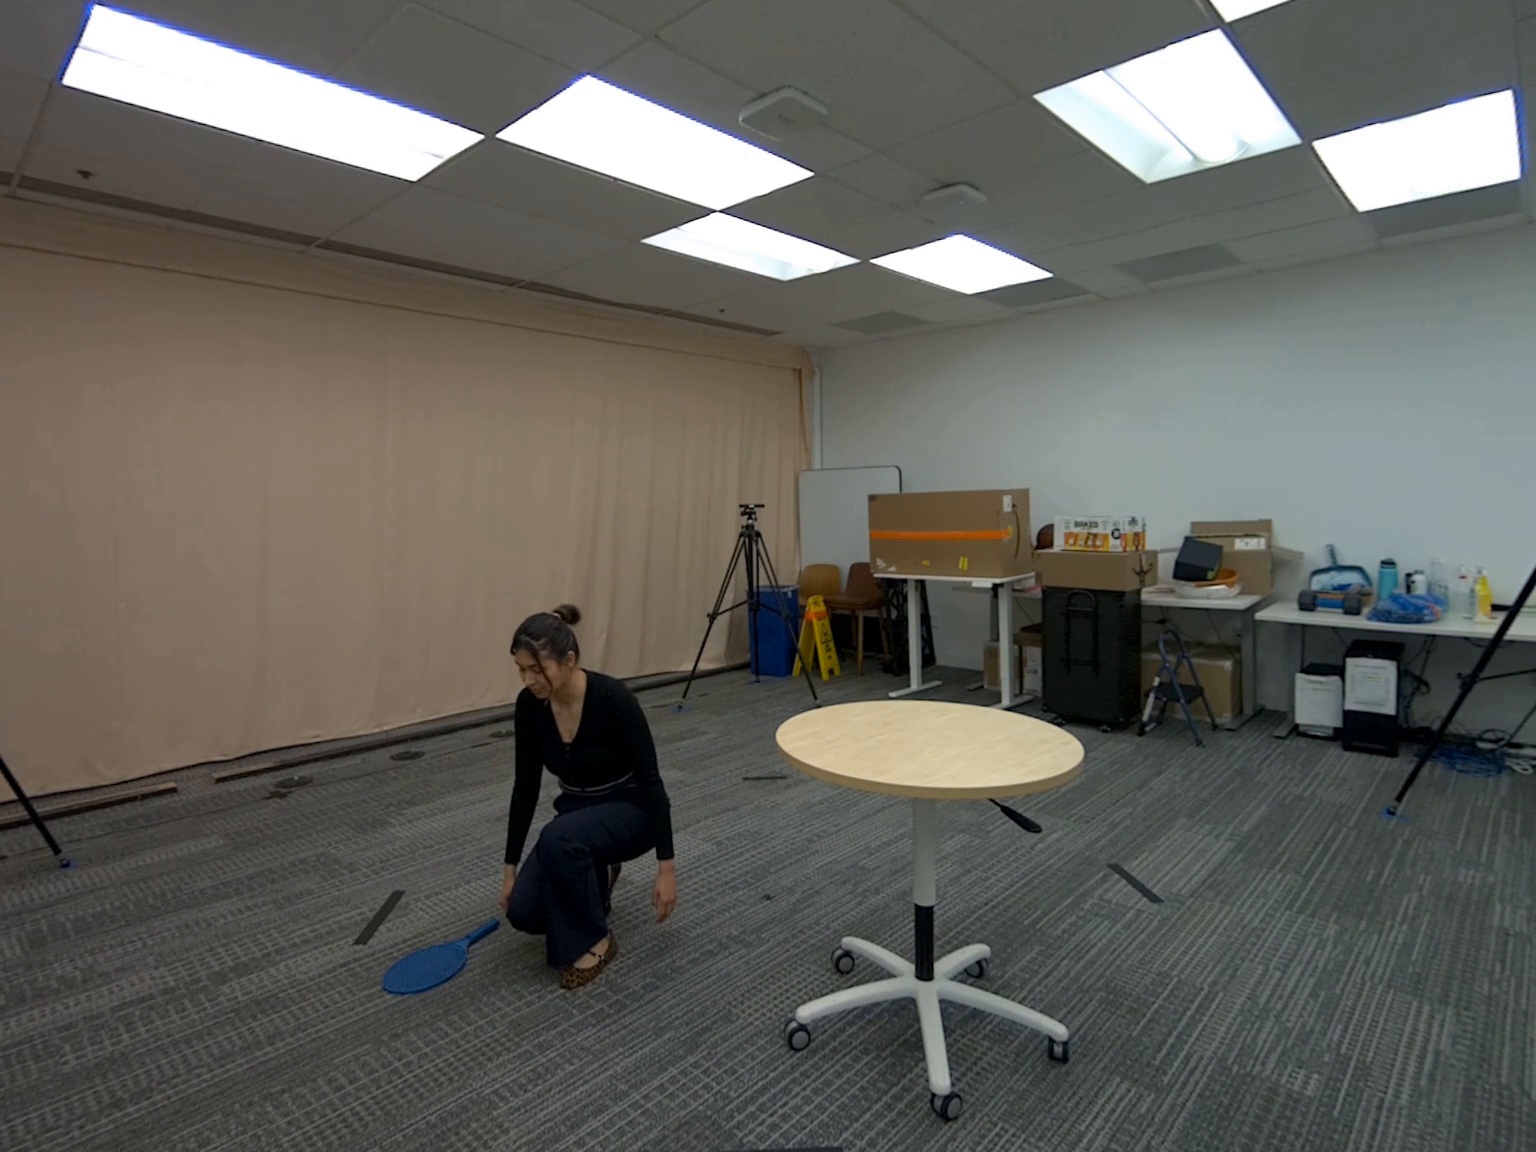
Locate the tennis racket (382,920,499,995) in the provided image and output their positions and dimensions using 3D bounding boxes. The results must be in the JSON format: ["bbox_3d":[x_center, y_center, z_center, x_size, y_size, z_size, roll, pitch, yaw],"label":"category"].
[{"bbox_3d":[-1.003,1.180,2.634,0.219,0.031,0.423,0,6,26],"label":"tennis racket"}]
